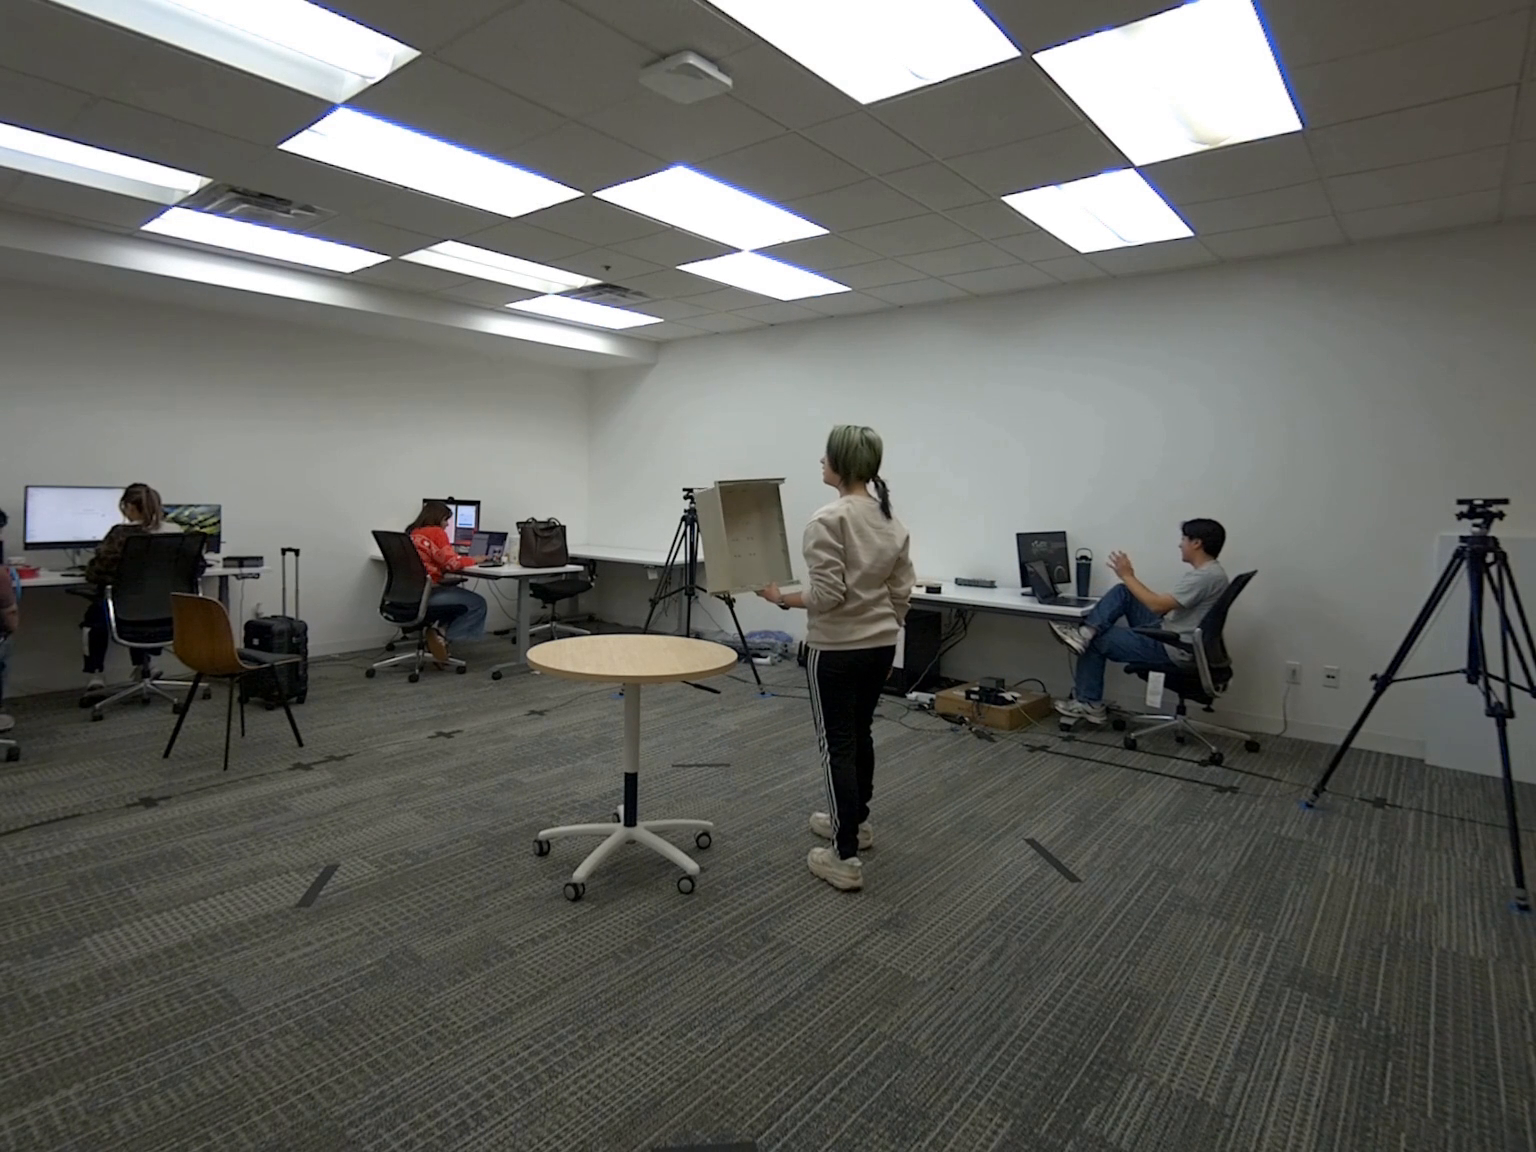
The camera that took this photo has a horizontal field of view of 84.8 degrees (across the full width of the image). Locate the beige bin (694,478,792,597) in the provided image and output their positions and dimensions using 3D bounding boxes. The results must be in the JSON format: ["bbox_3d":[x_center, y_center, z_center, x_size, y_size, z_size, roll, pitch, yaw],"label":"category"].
[{"bbox_3d":[-0.075,-0.159,3.288,0.368,0.423,0.193,-8,-2,-33],"label":"beige bin"}]
